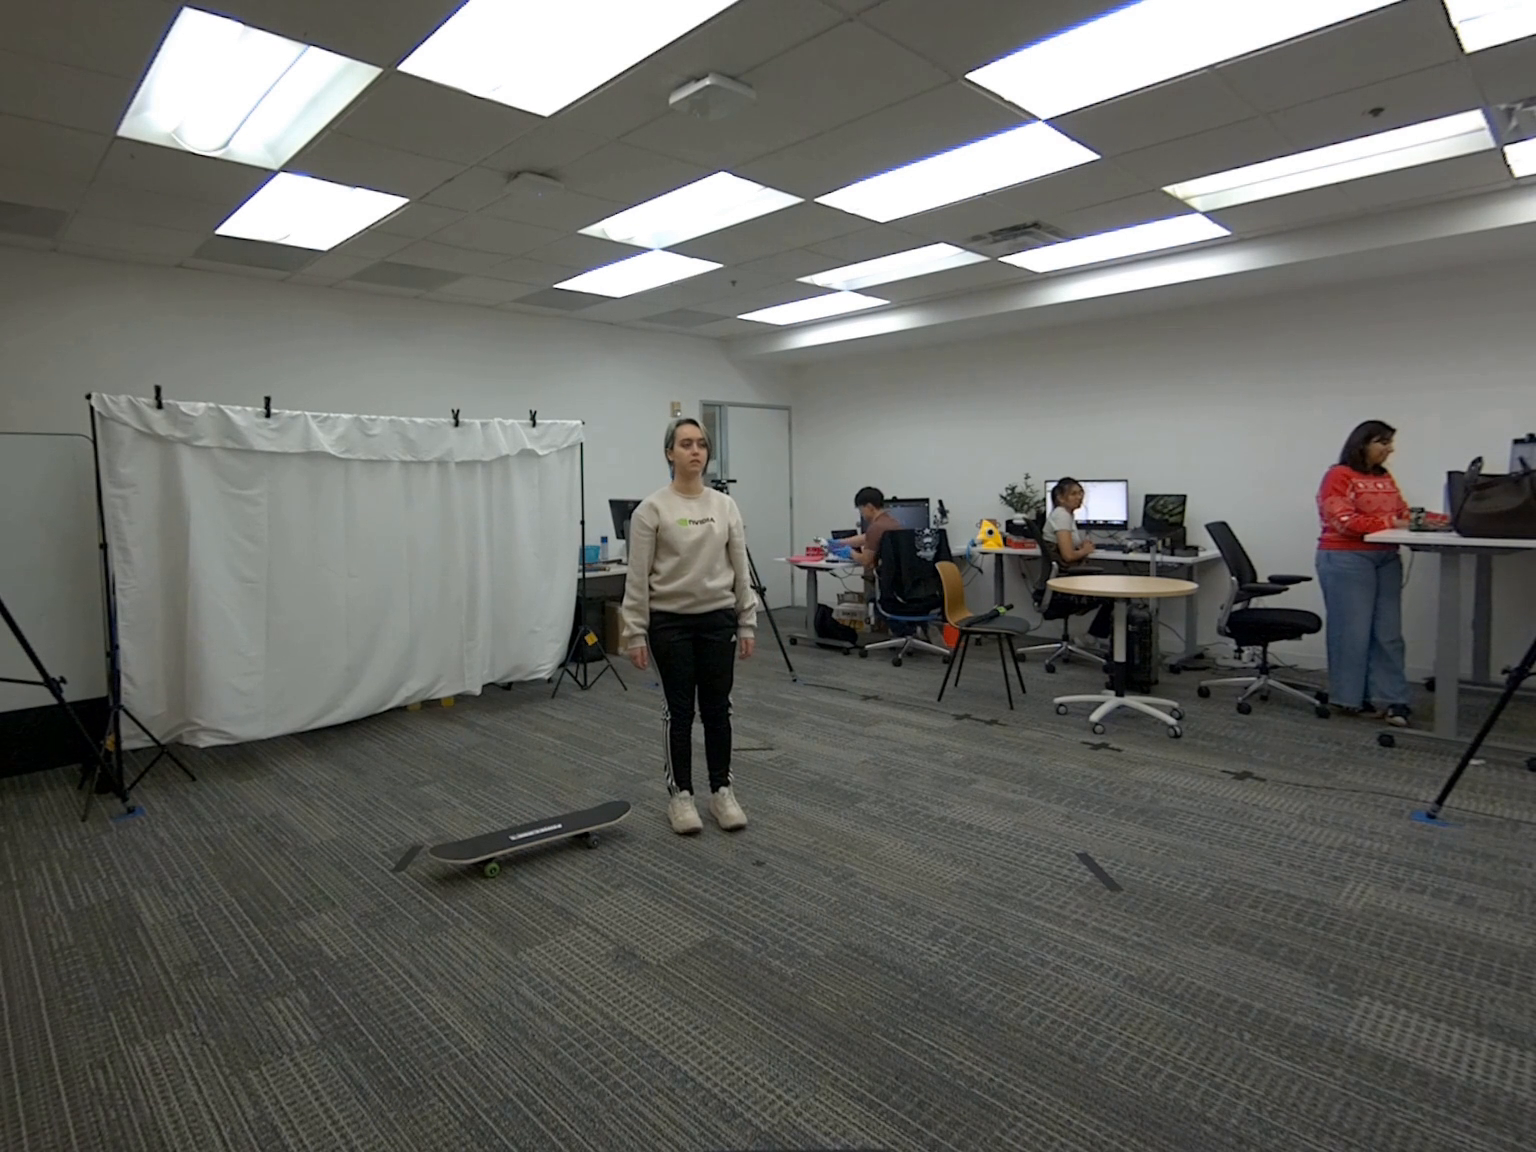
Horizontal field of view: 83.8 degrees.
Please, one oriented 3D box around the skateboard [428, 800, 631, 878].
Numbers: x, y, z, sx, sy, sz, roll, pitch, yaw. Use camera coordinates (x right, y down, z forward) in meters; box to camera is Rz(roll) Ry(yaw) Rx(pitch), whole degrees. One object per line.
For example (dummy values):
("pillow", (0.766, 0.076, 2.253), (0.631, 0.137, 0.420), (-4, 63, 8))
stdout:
("skateboard", (-0.877, 0.997, 3.224), (0.766, 0.110, 0.199), (-6, 7, -34))
